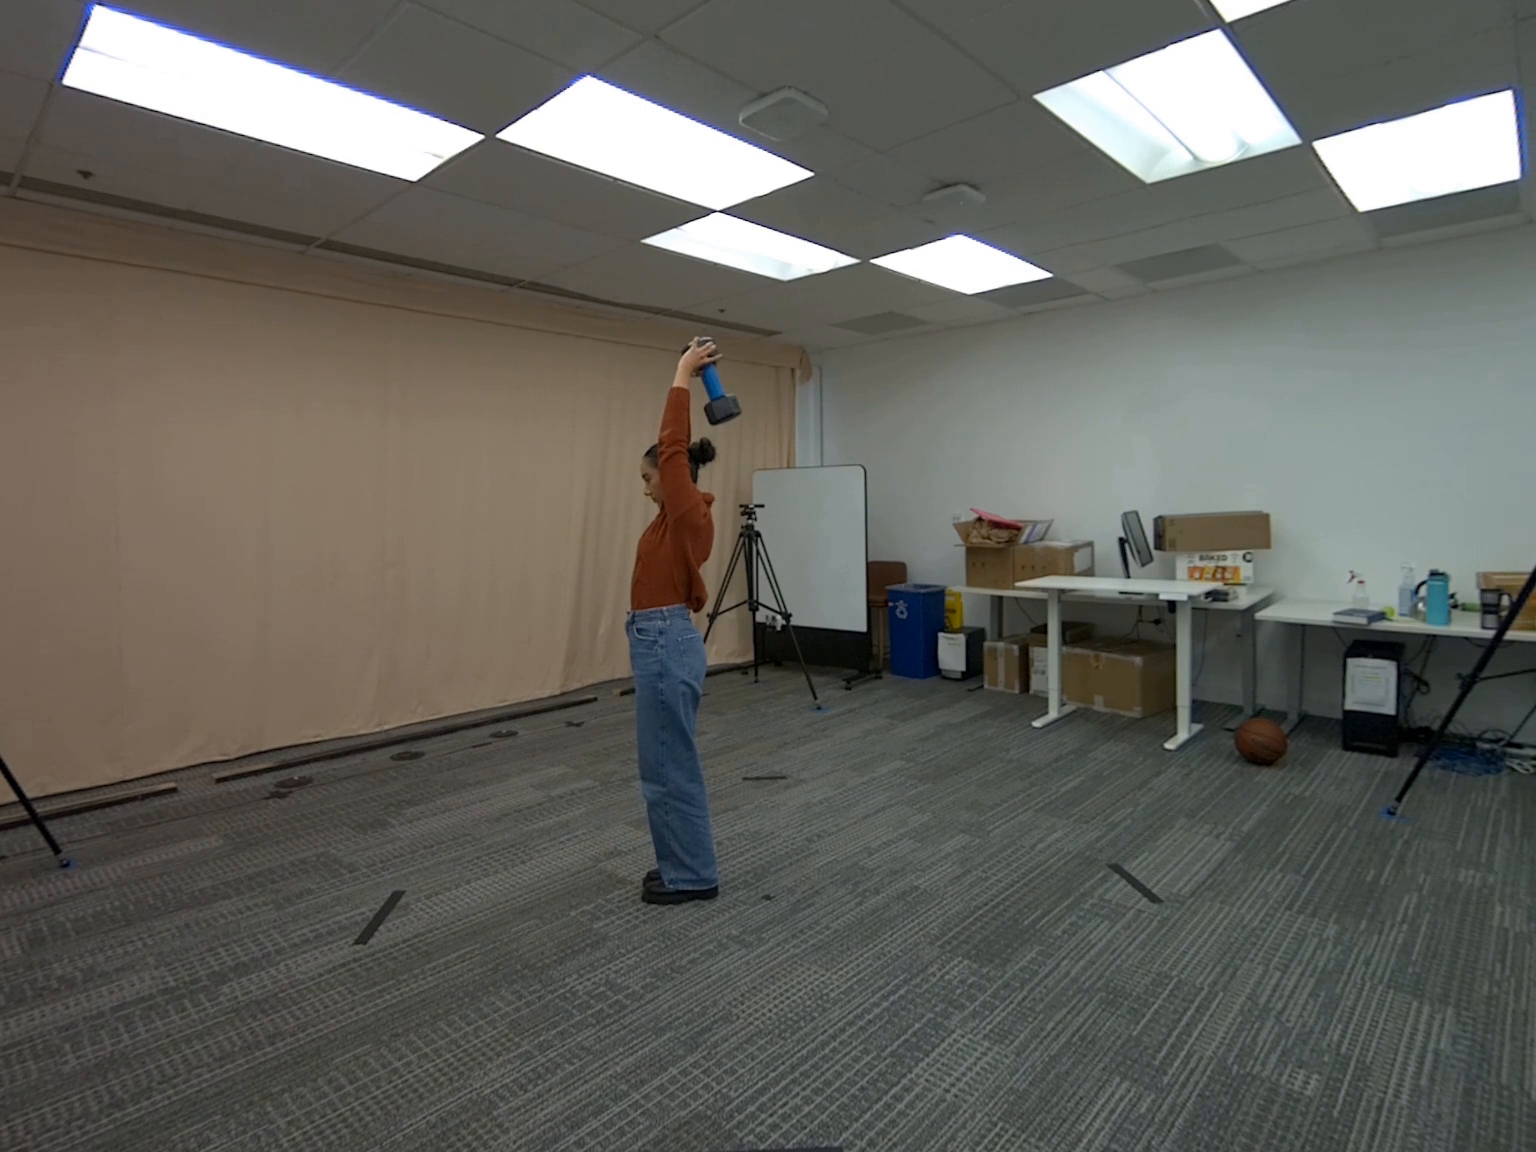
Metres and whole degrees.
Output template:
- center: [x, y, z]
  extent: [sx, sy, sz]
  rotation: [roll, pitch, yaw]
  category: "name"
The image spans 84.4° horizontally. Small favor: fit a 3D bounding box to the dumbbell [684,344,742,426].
- center: [-0.198, -0.678, 2.948]
  extent: [0.122, 0.293, 0.109]
  rotation: [-22, 1, -4]
  category: "dumbbell"
